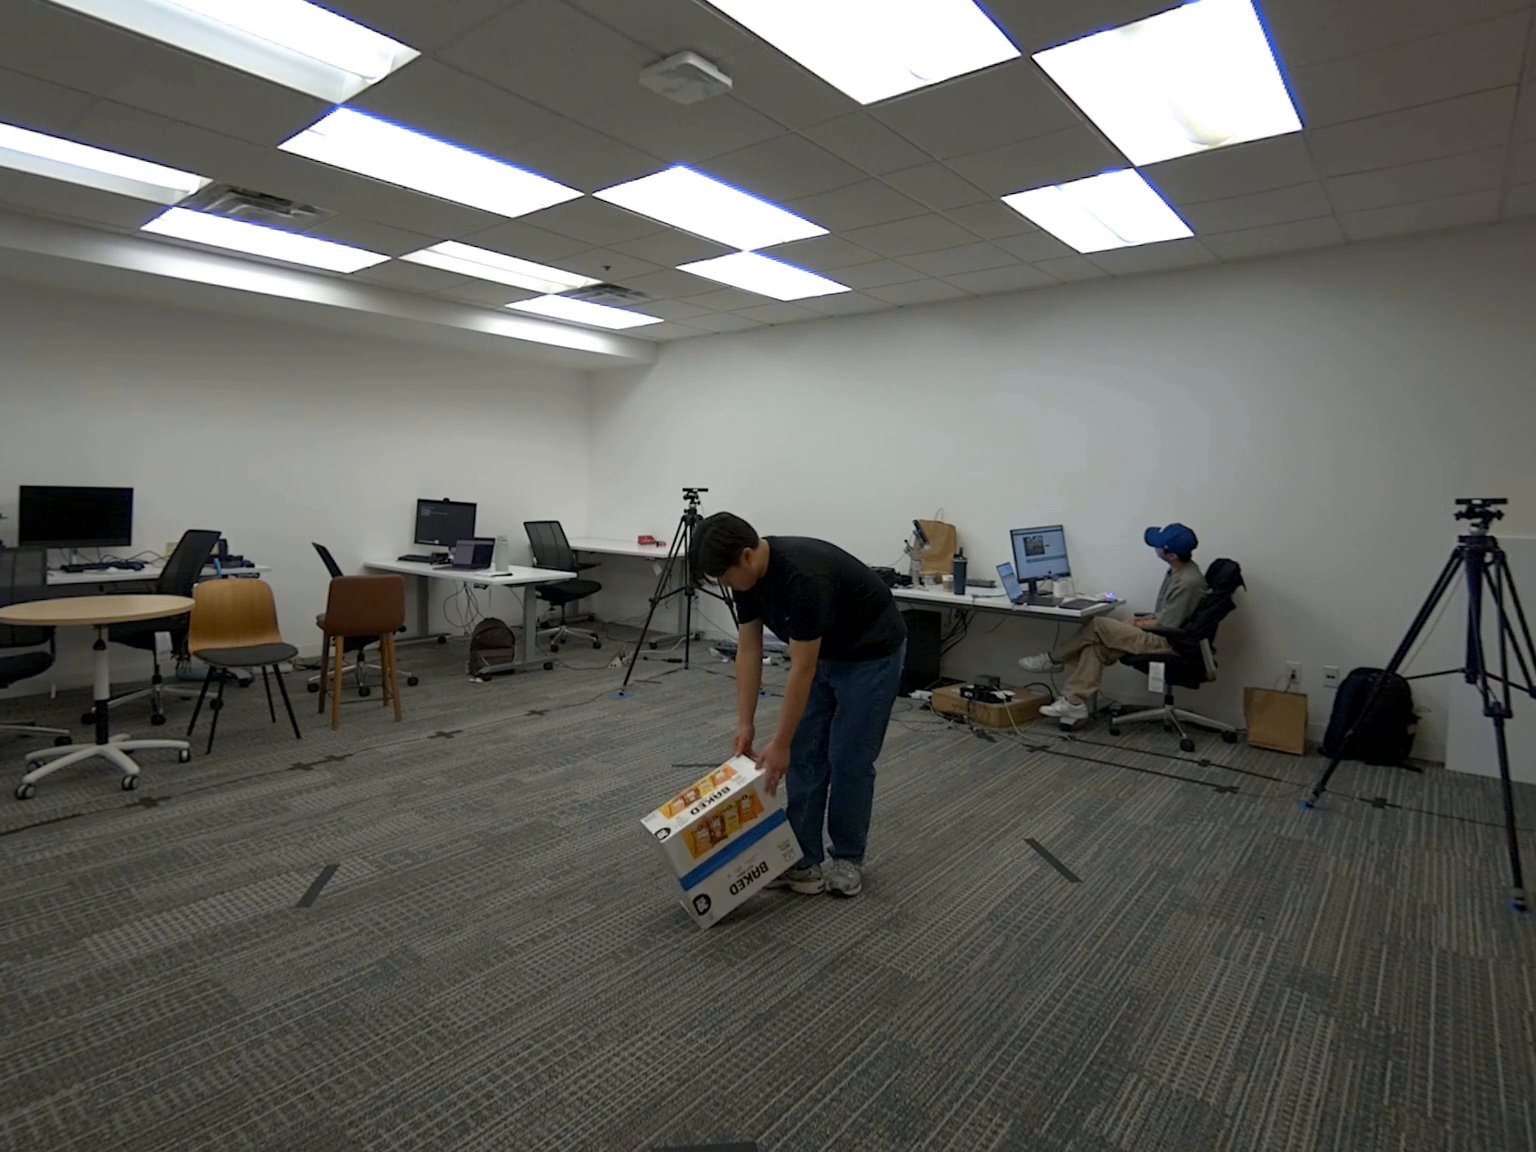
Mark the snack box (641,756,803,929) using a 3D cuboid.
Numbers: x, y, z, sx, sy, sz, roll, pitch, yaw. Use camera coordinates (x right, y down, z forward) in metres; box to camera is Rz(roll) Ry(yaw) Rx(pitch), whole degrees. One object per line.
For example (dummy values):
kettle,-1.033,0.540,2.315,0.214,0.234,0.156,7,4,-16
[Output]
snack box,-0.154,0.856,2.799,0.401,0.334,0.211,-30,15,-21
